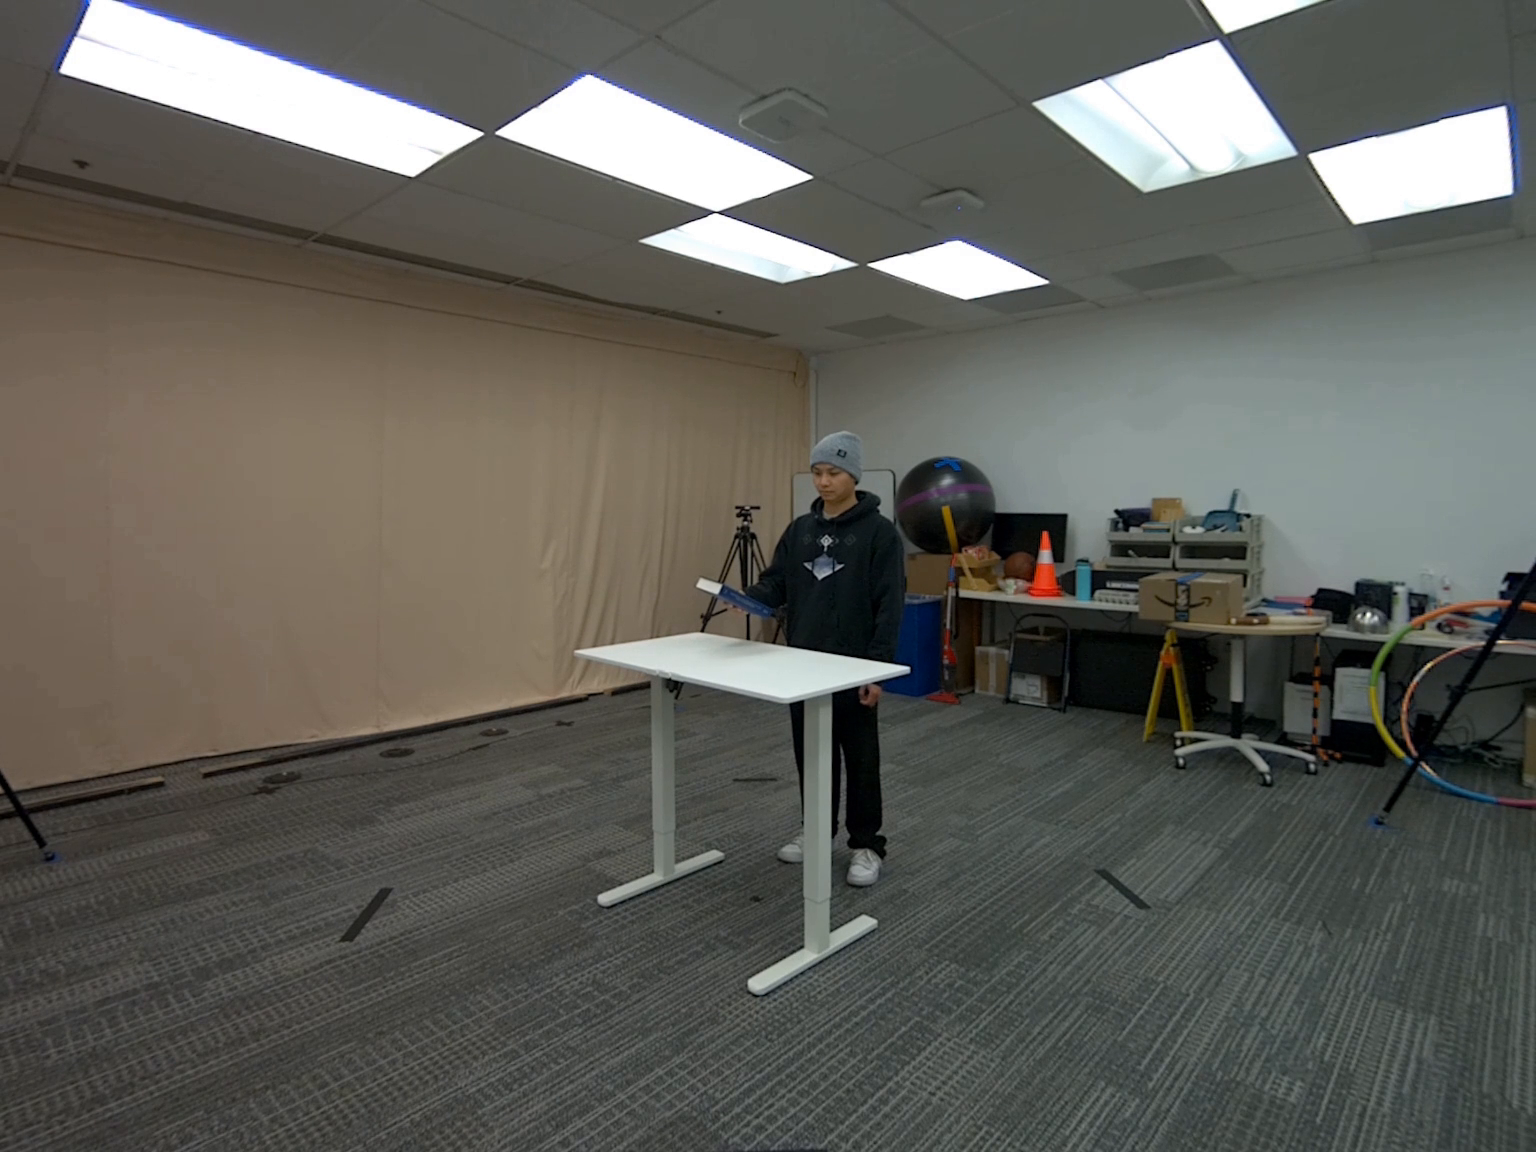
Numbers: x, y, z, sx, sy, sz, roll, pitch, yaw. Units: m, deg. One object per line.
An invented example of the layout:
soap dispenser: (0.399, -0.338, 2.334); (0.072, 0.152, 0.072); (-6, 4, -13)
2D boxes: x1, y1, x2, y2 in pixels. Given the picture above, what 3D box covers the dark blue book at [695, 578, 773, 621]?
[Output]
dark blue book: (-0.114, 0.077, 3.013); (0.236, 0.045, 0.169); (28, -9, -37)
